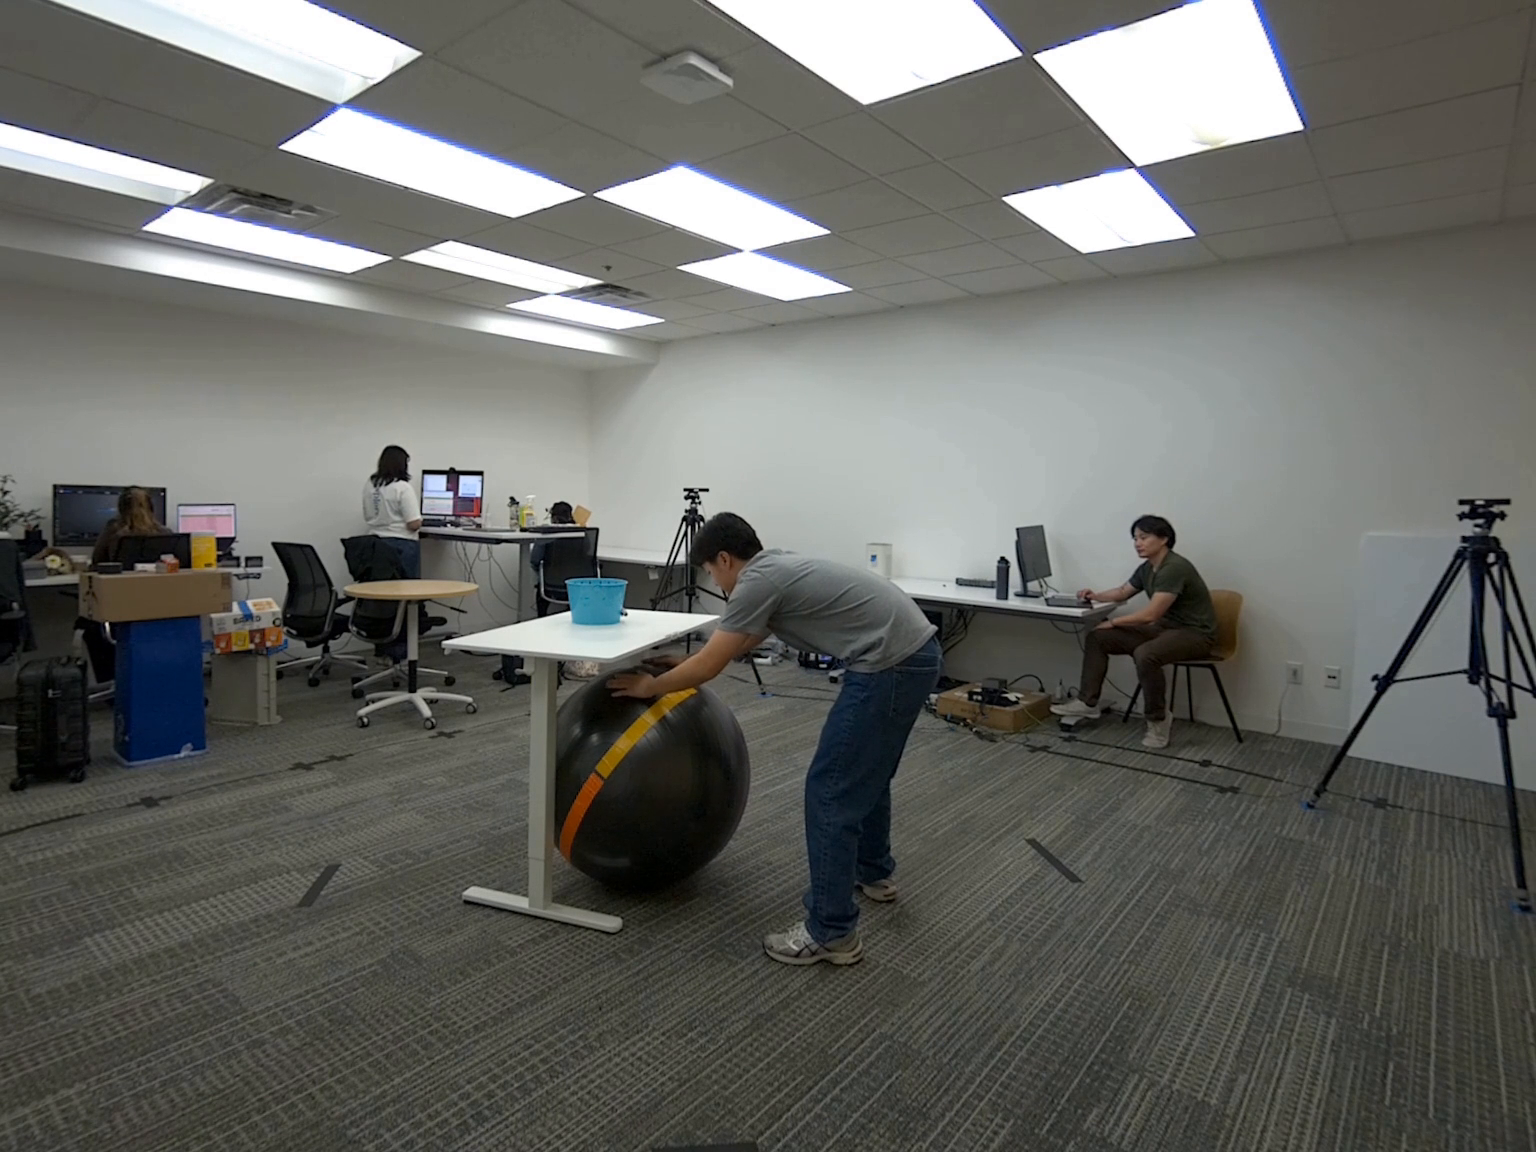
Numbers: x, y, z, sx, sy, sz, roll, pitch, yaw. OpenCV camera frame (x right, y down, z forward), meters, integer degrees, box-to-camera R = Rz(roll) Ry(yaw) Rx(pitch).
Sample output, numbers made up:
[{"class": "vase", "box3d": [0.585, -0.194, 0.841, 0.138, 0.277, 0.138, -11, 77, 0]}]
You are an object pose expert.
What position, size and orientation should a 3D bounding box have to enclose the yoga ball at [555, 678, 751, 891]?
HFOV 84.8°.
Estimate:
[{"class": "yoga ball", "box3d": [-0.456, 0.704, 3.018, 0.757, 0.755, 0.762, 1, 4, -2]}]
